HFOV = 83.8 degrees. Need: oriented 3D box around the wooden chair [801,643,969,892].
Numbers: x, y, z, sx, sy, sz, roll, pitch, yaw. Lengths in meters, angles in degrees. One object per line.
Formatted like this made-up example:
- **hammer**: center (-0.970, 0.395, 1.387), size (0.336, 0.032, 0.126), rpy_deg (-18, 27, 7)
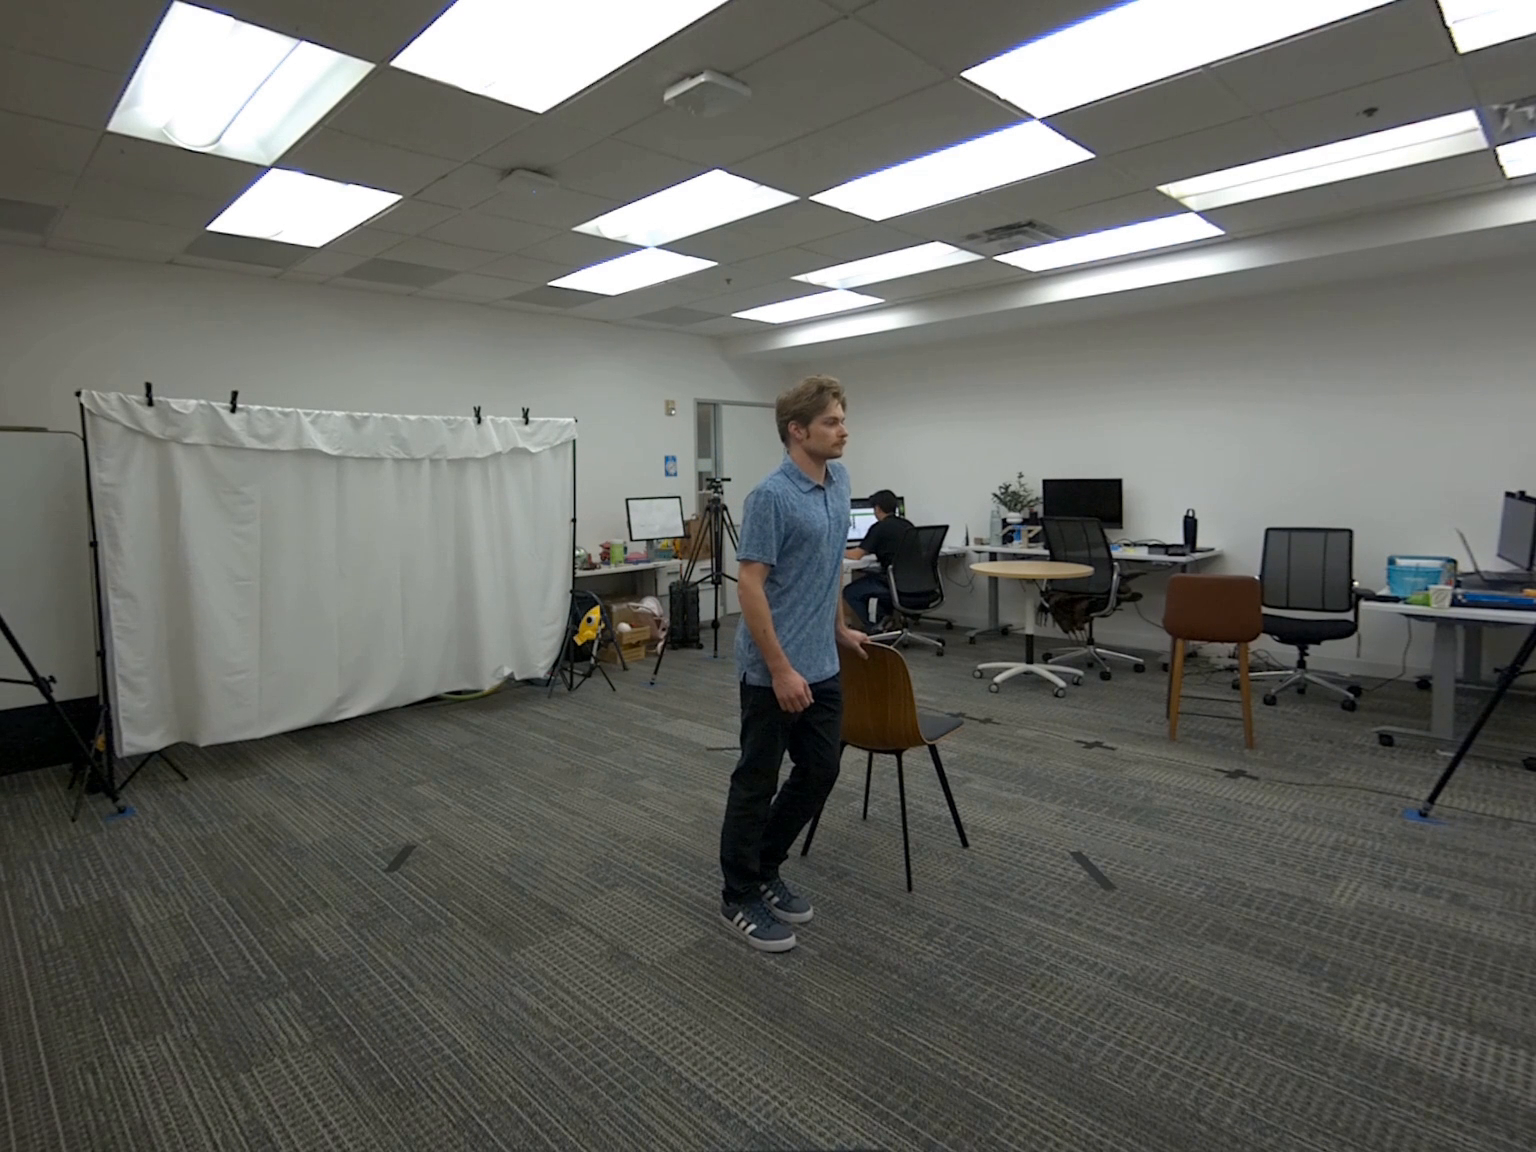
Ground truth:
- **wooden chair**: center (0.433, 0.599, 3.159), size (0.492, 0.871, 0.511), rpy_deg (2, 9, 39)
